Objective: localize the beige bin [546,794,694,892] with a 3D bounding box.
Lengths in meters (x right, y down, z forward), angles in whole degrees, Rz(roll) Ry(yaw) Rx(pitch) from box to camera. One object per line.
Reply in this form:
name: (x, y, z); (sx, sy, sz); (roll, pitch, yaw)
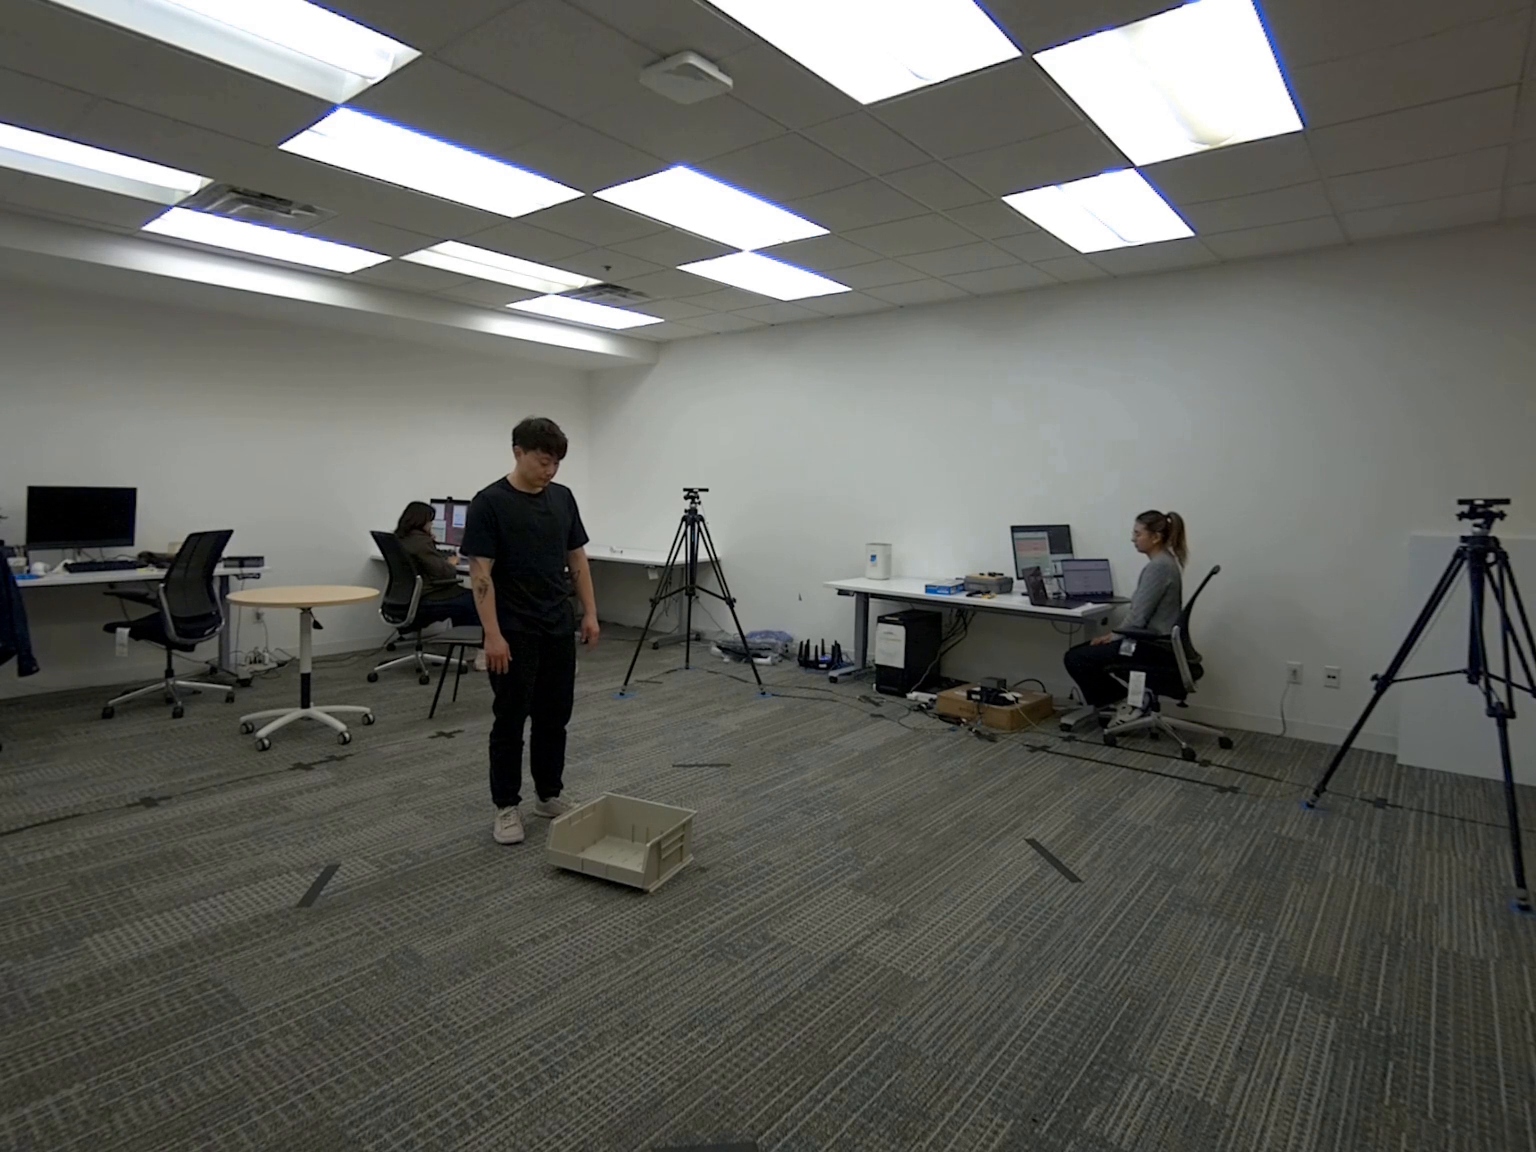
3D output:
beige bin: (-0.543, 0.973, 3.121); (0.433, 0.188, 0.368); (3, 4, 25)
